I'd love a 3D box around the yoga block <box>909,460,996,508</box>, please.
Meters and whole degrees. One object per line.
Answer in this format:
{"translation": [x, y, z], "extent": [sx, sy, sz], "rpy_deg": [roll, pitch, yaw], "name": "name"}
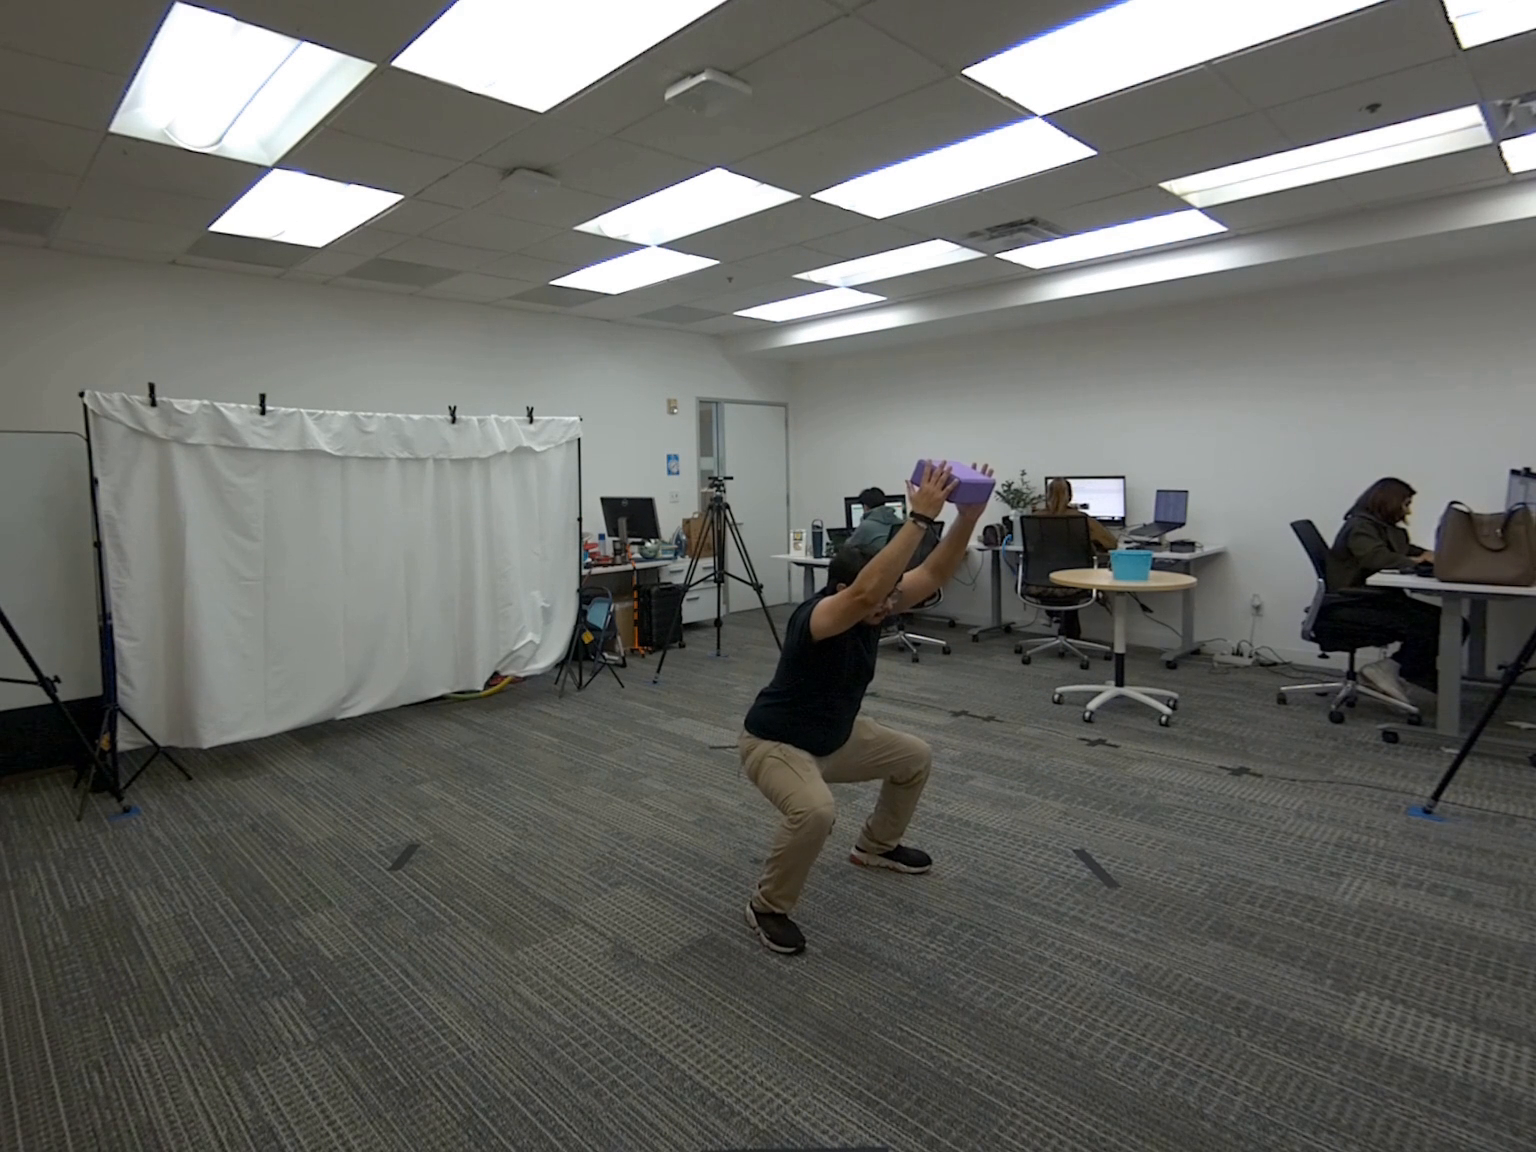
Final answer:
{"translation": [0.533, -0.273, 2.432], "extent": [0.223, 0.076, 0.154], "rpy_deg": [-4, 33, -48], "name": "yoga block"}
